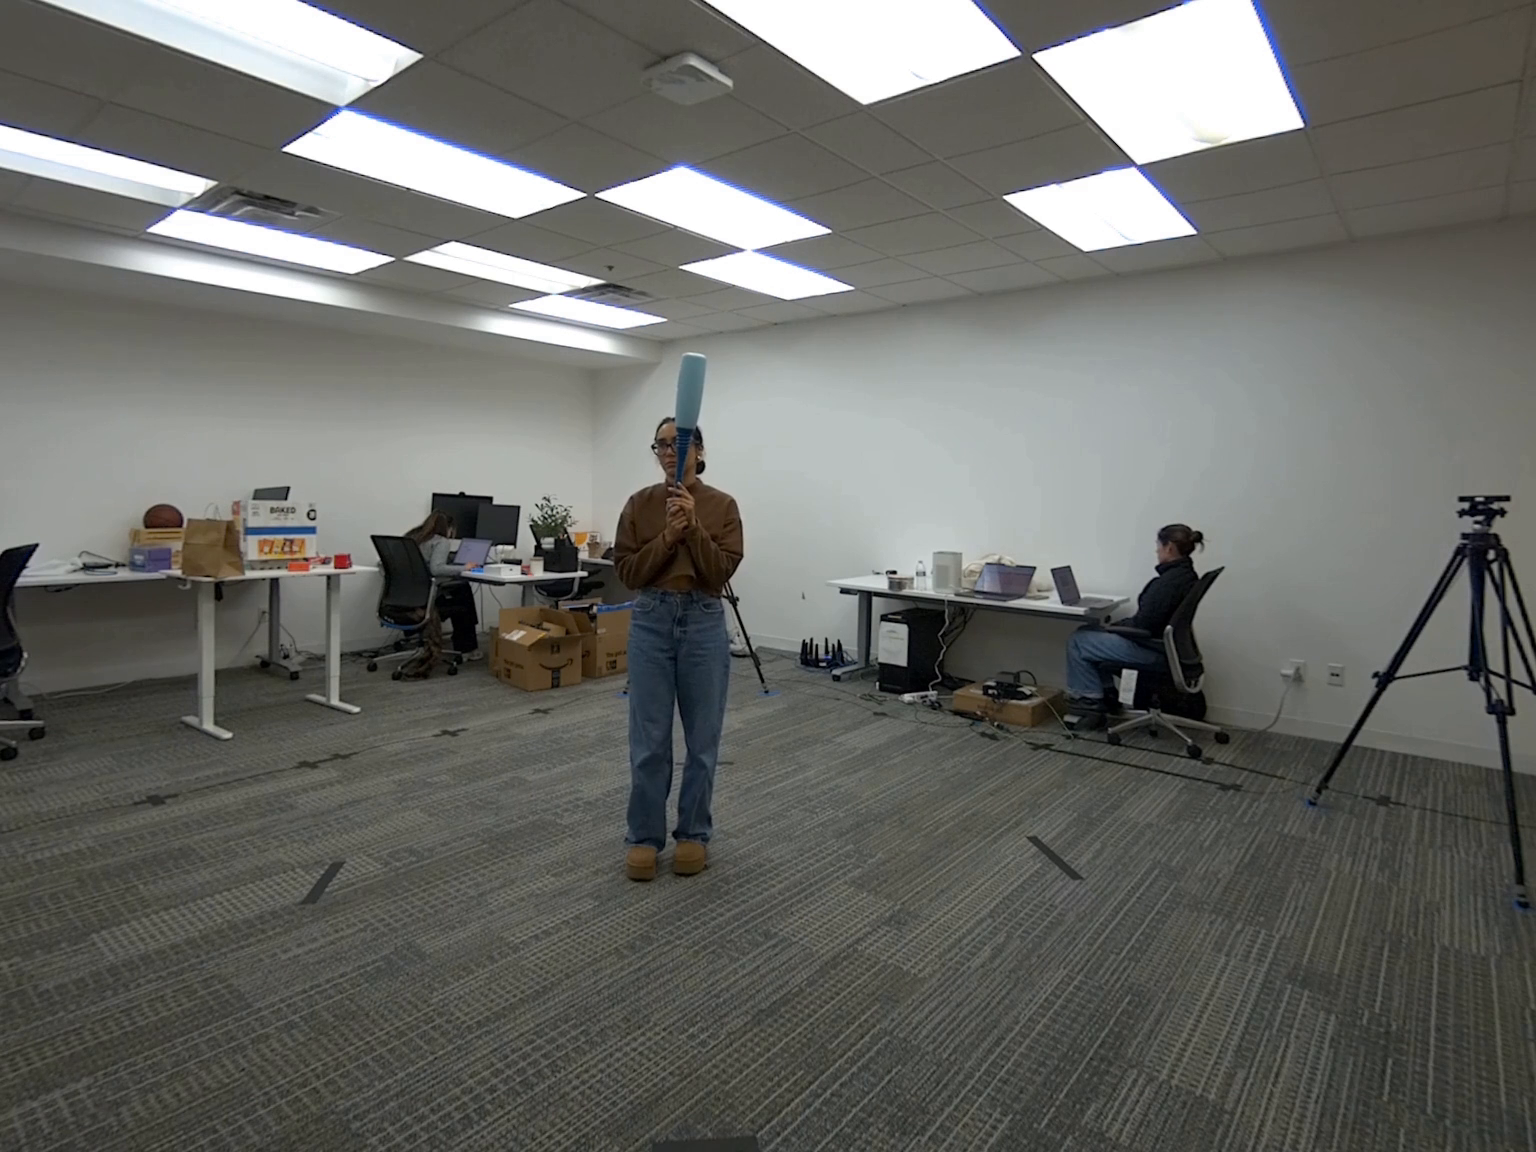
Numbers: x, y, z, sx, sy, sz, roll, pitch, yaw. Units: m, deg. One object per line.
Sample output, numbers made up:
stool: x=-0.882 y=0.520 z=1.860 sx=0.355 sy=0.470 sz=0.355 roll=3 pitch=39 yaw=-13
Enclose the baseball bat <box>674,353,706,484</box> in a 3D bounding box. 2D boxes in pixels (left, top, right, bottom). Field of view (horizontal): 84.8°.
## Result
baseball bat: x=-0.299 y=-0.495 z=2.917 sx=0.089 sy=0.539 sz=0.090 roll=9 pitch=10 yaw=-4
